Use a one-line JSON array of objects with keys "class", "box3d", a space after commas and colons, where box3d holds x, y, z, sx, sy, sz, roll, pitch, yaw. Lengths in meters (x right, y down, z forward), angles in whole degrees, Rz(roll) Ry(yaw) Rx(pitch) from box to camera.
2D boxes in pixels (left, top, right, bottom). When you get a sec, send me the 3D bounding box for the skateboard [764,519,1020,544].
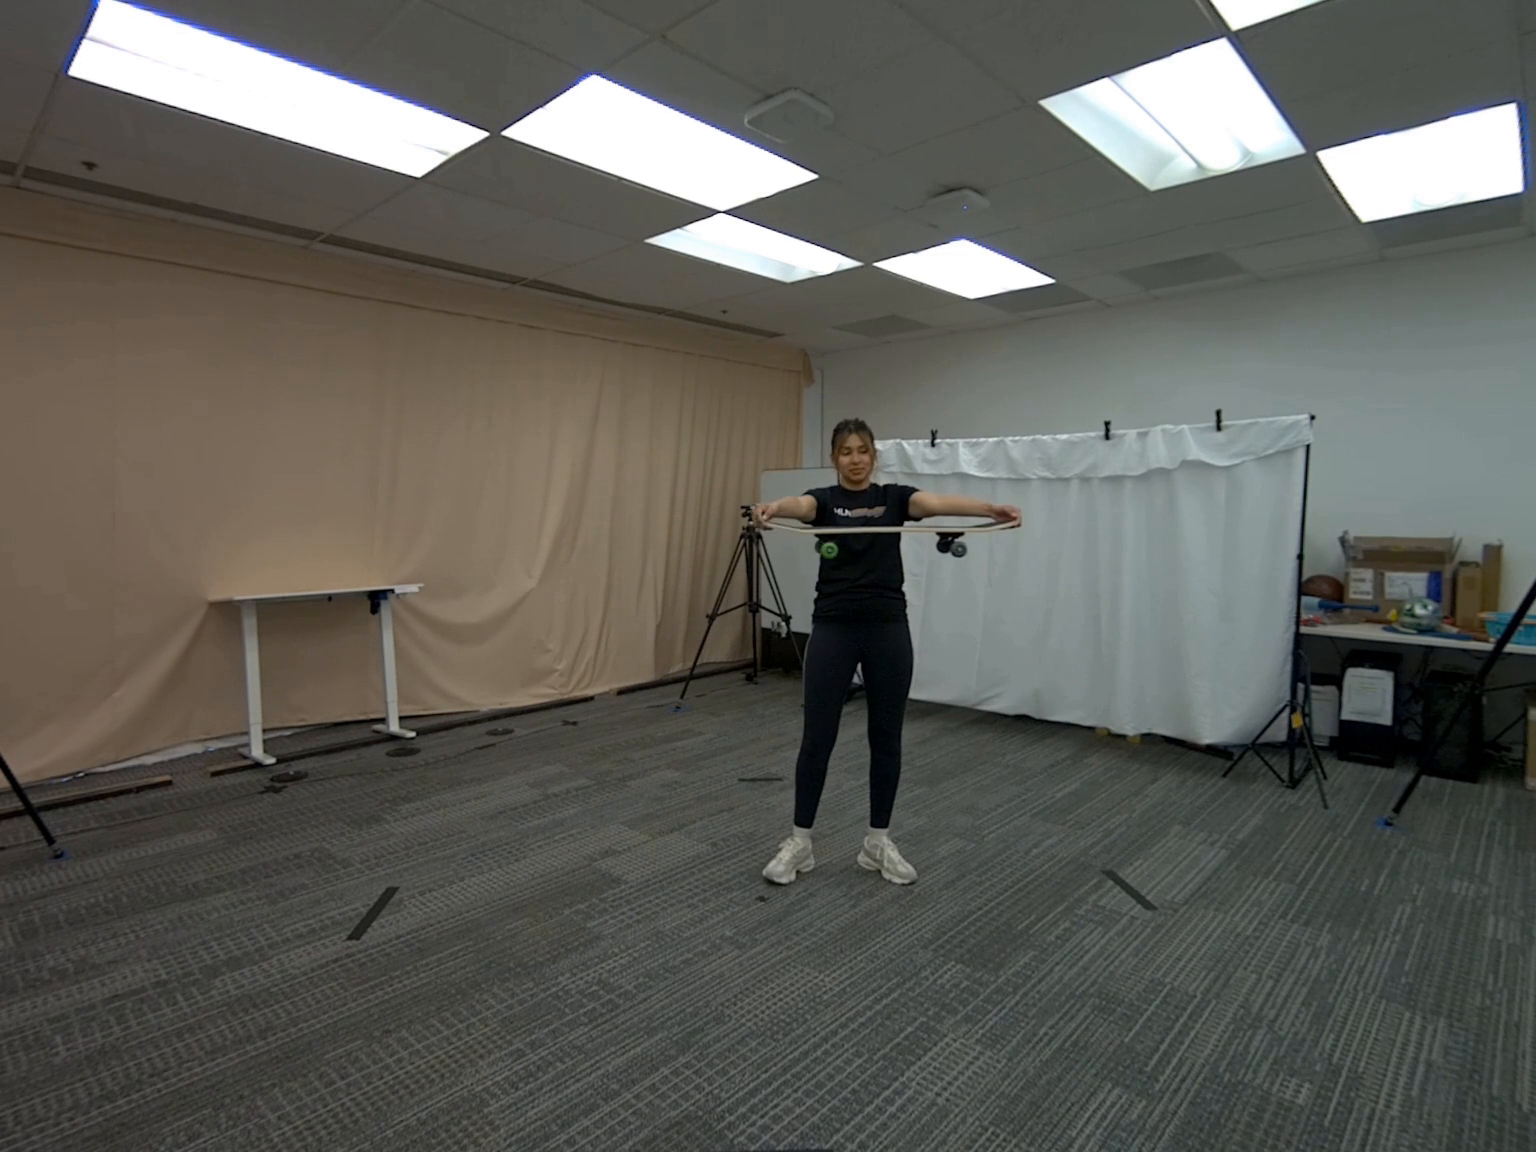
[{"class": "skateboard", "box3d": [0.391, -0.116, 2.657, 0.782, 0.110, 0.195, -2, 5, -3]}]
